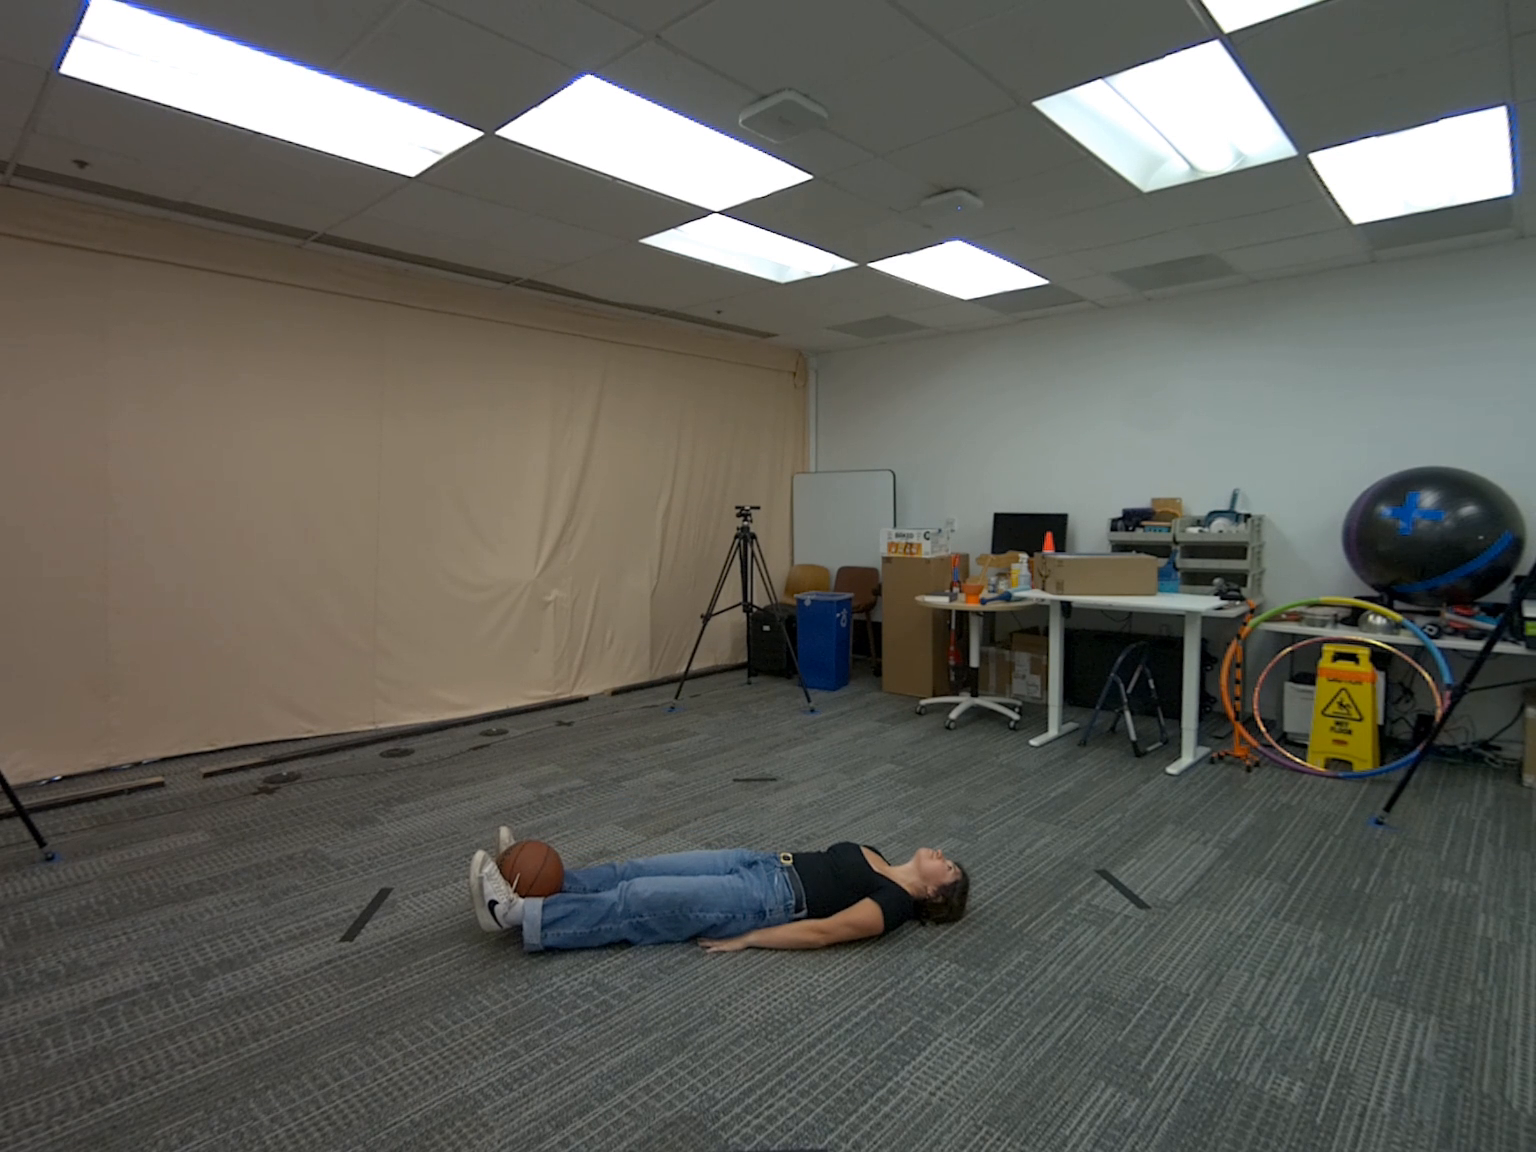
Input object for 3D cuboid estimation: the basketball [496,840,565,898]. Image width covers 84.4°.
[{"bbox_3d":[-0.792,0.997,2.787,0.236,0.235,0.237,0,4,-2],"label":"basketball"}]
